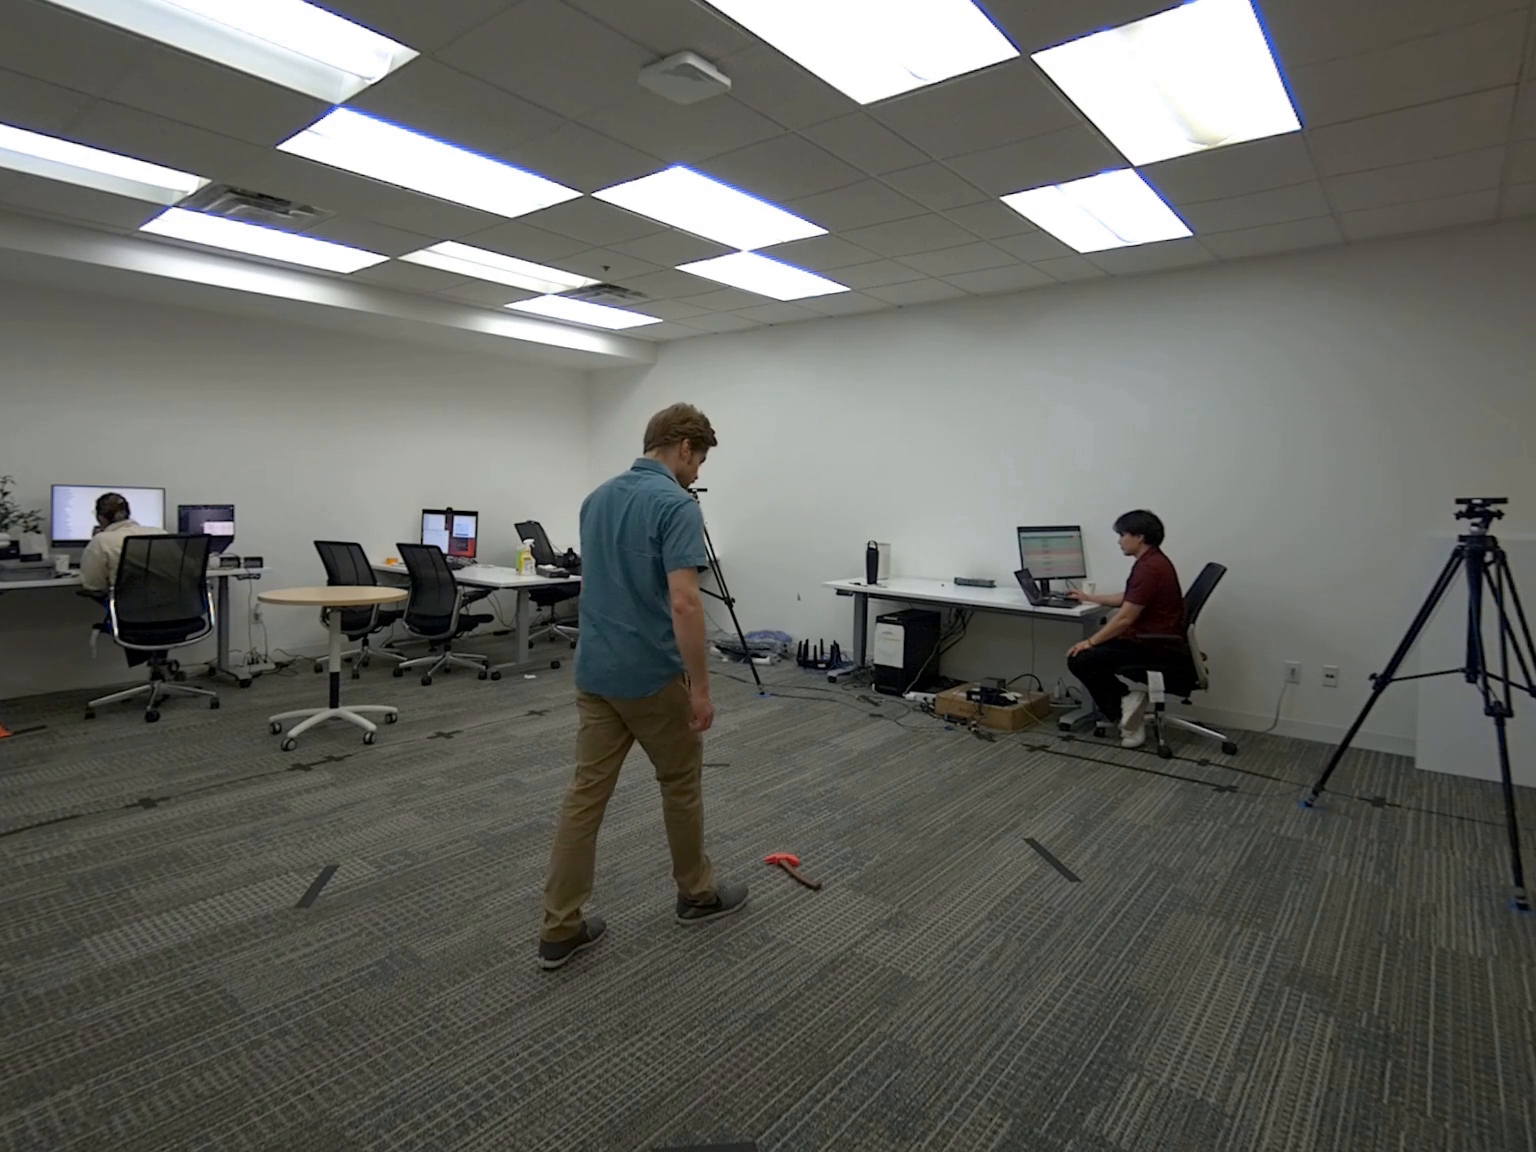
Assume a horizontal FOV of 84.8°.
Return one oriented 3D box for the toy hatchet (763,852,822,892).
[{"bbox_3d":[0.107,1.067,3.098,0.127,0.029,0.280,0,6,-42],"label":"toy hatchet"}]
